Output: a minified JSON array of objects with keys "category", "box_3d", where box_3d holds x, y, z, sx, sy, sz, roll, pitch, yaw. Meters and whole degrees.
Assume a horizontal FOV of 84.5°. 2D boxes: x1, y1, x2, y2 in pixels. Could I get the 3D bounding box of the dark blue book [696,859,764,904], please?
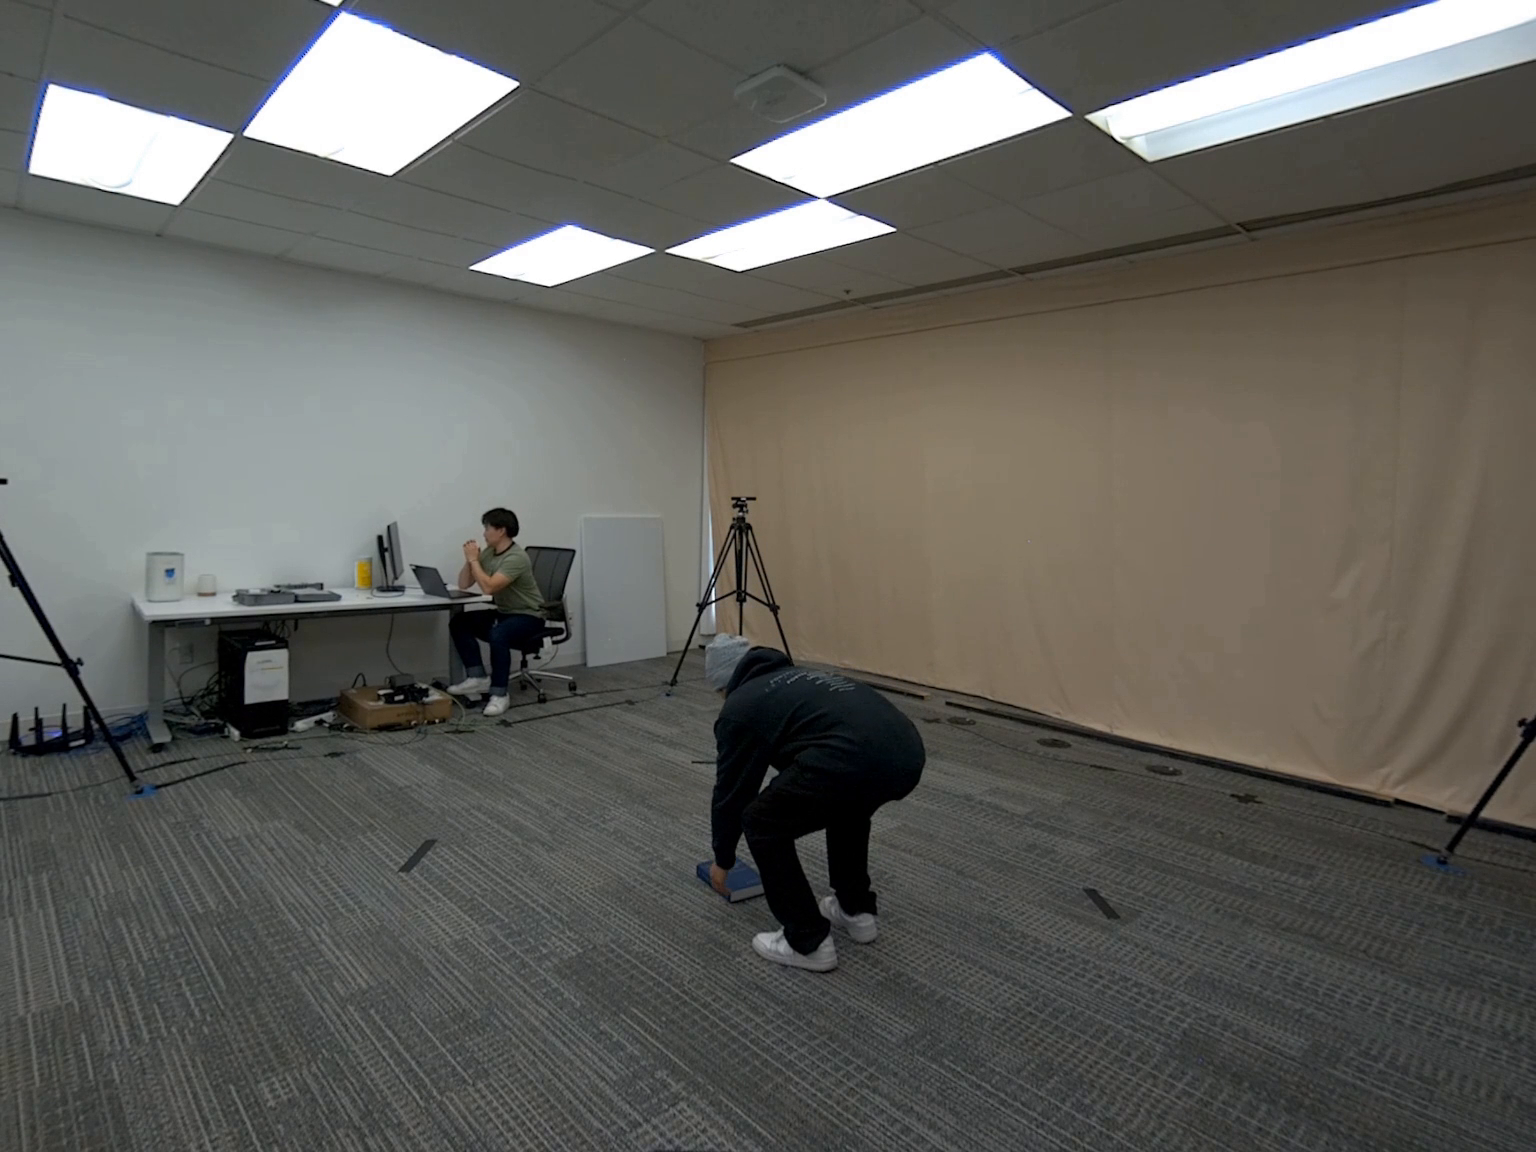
[{"category":"dark blue book","box_3d":[-0.137,1.093,3.038,0.160,0.045,0.251,-2,6,-32]}]
